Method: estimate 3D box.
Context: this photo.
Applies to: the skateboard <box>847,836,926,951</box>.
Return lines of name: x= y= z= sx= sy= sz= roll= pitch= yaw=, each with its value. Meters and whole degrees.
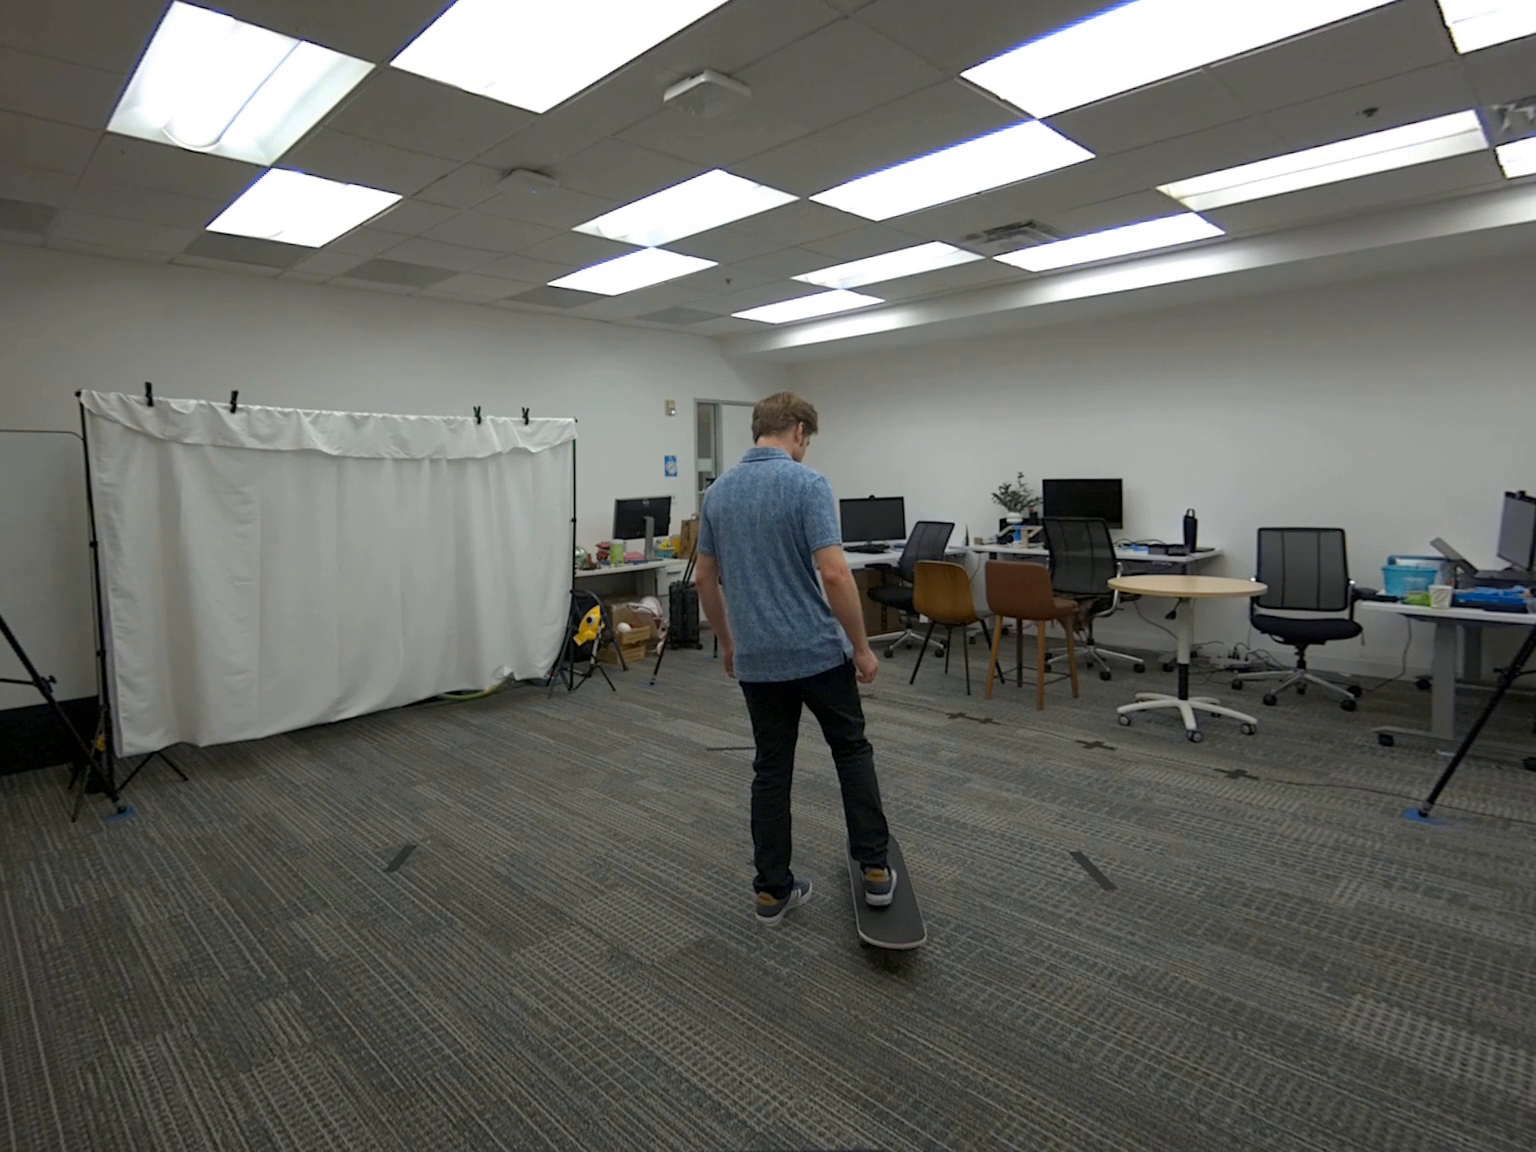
skateboard: x=0.366 y=1.019 z=2.743 sx=0.194 sy=0.110 sz=0.786 roll=-2 pitch=6 yaw=2
